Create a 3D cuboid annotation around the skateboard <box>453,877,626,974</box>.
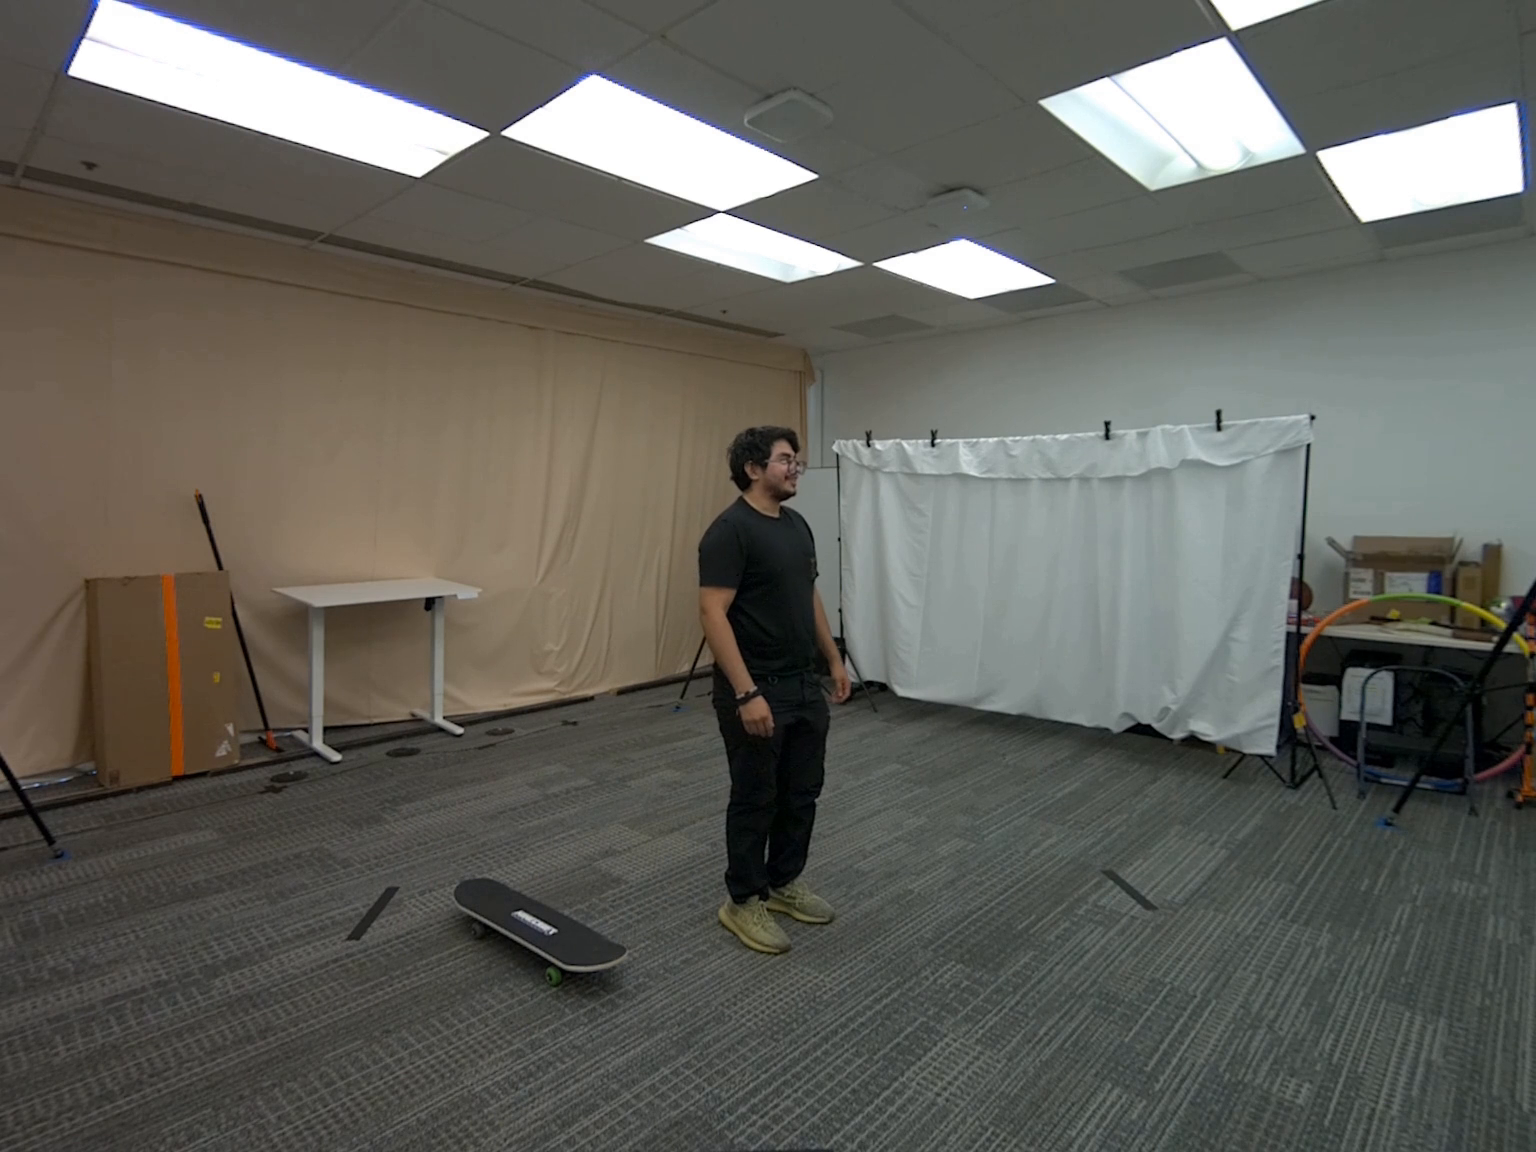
[{"bbox_3d":[-0.739,1.127,2.639,0.811,0.110,0.187,3,4,40],"label":"skateboard"}]
